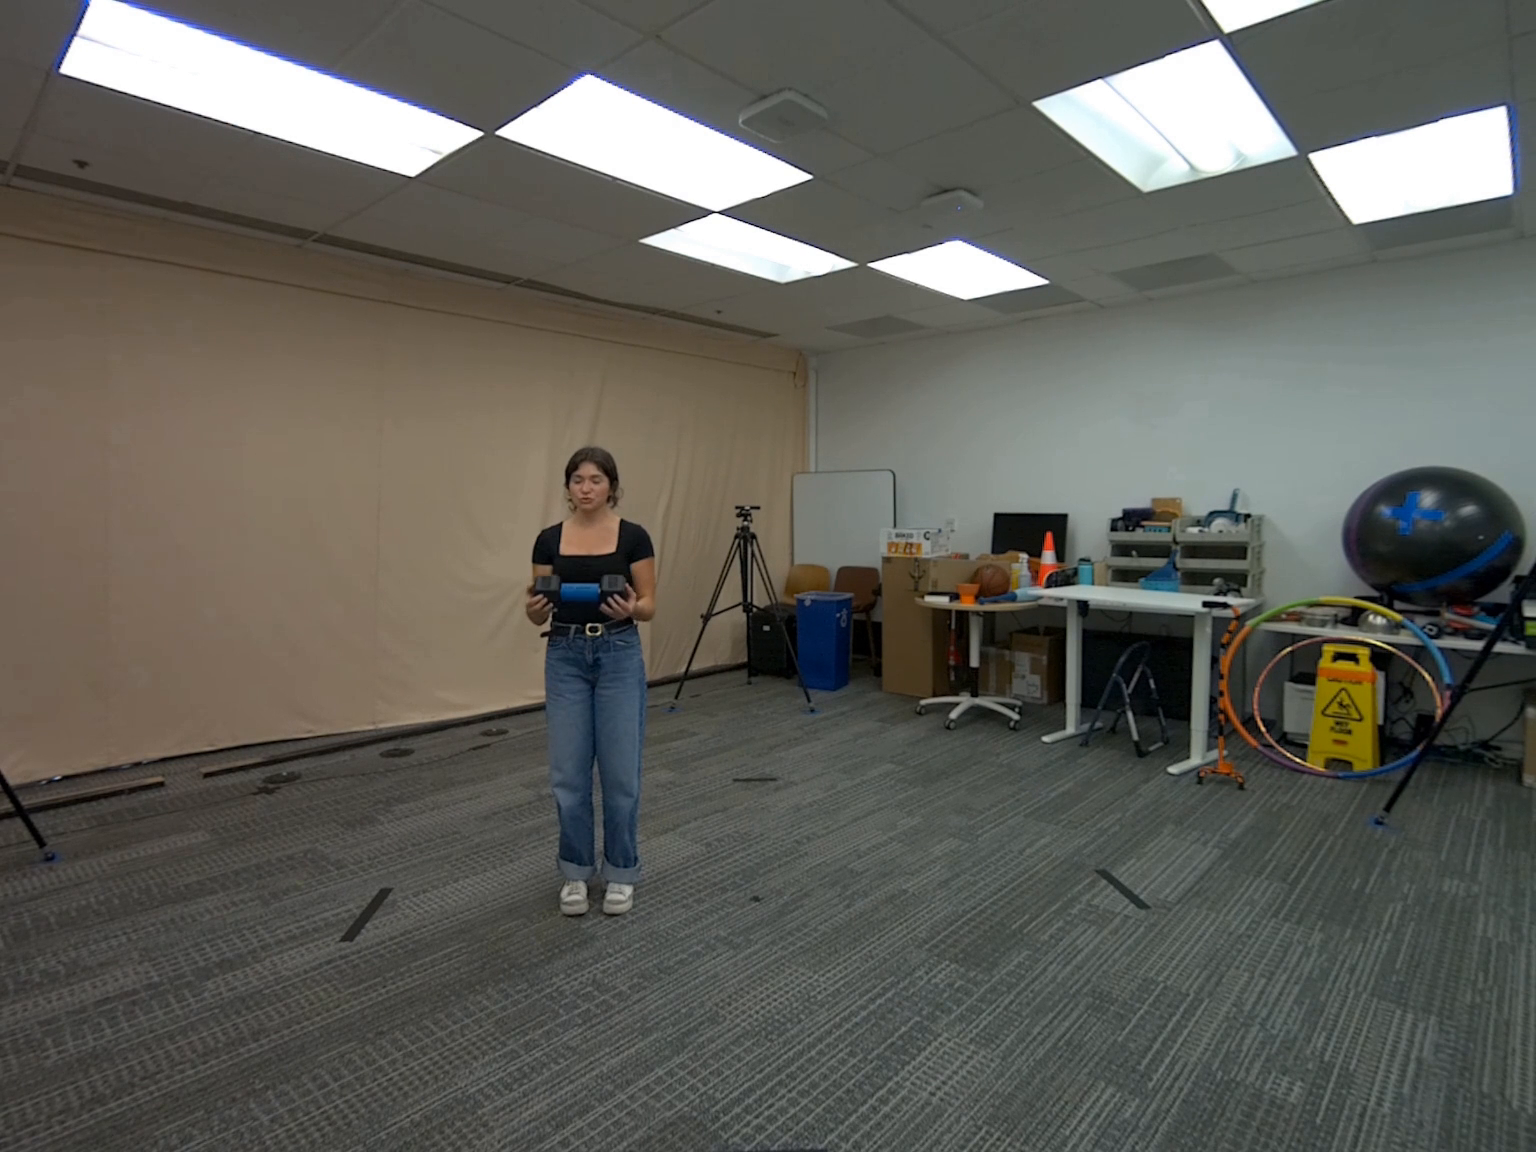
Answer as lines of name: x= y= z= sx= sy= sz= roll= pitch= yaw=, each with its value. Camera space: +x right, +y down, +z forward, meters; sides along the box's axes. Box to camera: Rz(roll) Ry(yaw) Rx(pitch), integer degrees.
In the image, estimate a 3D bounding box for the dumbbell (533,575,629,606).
dumbbell: x=-0.619 y=0.055 z=2.731 sx=0.293 sy=0.121 sz=0.110 roll=0 pitch=25 yaw=-2
